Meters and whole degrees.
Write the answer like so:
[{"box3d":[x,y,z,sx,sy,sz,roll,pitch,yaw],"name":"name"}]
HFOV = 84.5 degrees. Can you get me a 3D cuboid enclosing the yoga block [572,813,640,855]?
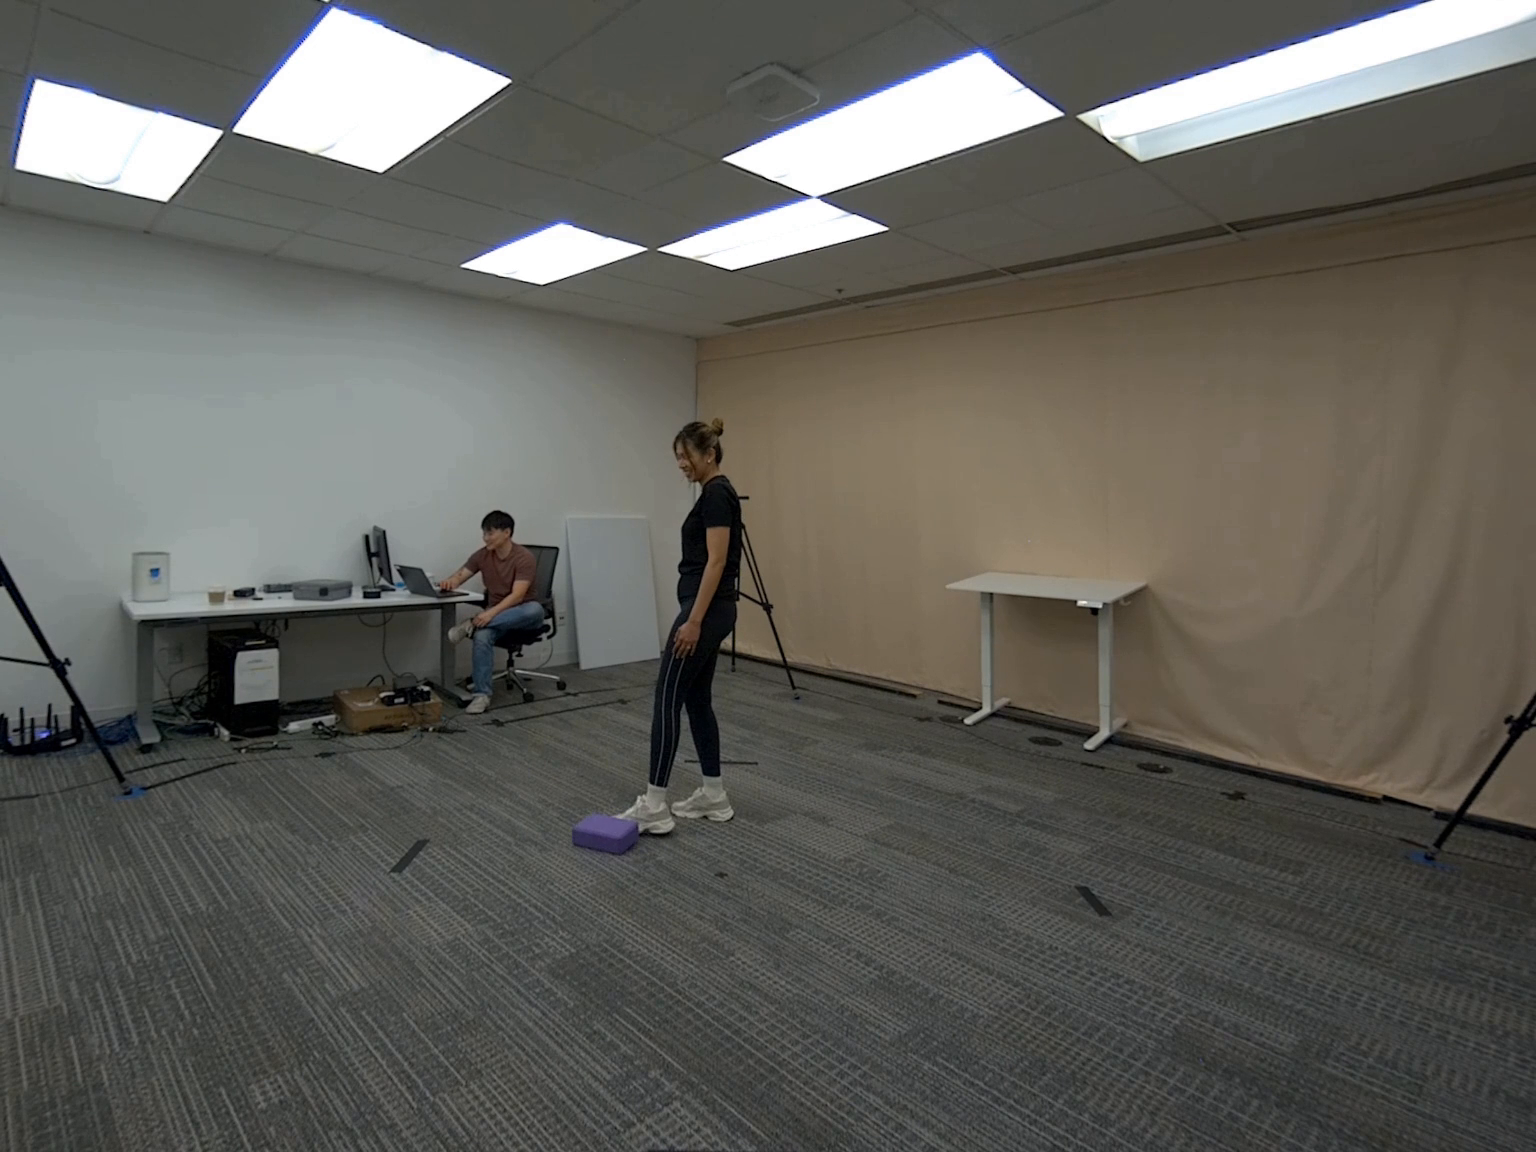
[{"box3d":[-0.651,1.022,3.348,0.233,0.076,0.147,4,9,24],"name":"yoga block"}]
